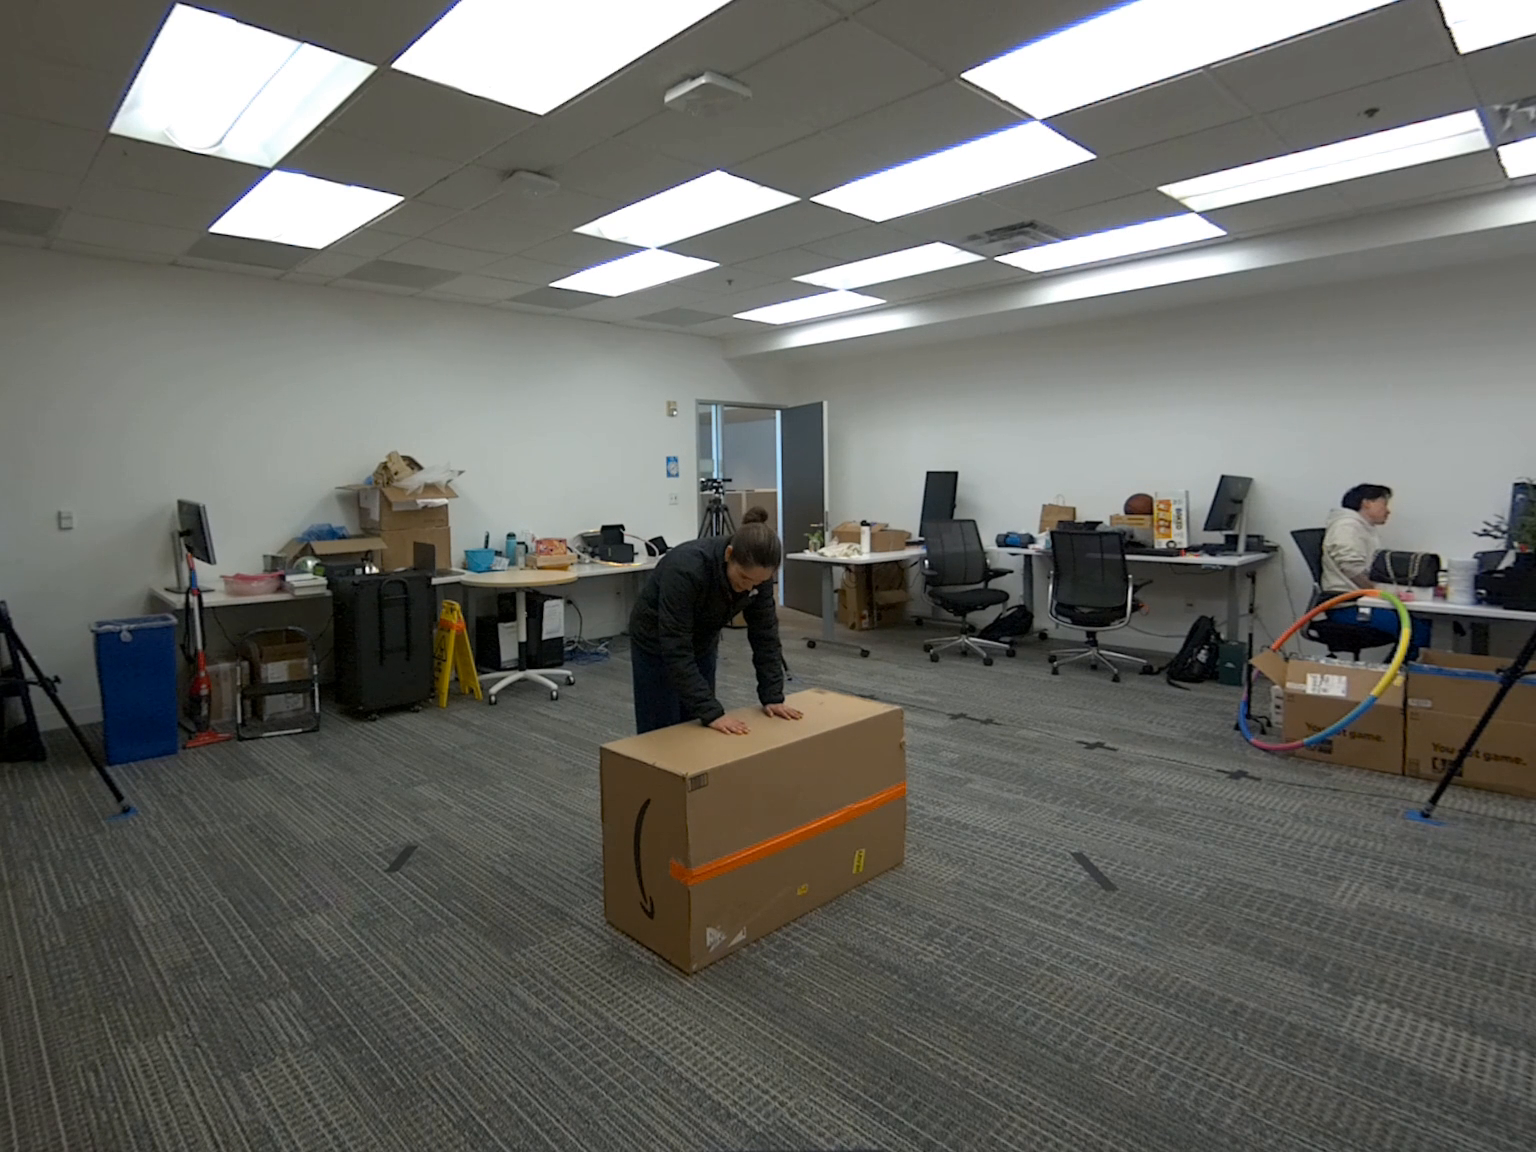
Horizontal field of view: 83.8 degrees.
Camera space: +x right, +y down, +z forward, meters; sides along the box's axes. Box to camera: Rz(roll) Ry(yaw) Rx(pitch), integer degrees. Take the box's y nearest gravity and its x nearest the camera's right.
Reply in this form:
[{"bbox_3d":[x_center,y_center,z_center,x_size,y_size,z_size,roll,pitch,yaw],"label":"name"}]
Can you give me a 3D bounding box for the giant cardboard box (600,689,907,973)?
[{"bbox_3d":[-0.014,0.784,2.894,1.000,0.582,0.460,-7,6,-43],"label":"giant cardboard box"}]
